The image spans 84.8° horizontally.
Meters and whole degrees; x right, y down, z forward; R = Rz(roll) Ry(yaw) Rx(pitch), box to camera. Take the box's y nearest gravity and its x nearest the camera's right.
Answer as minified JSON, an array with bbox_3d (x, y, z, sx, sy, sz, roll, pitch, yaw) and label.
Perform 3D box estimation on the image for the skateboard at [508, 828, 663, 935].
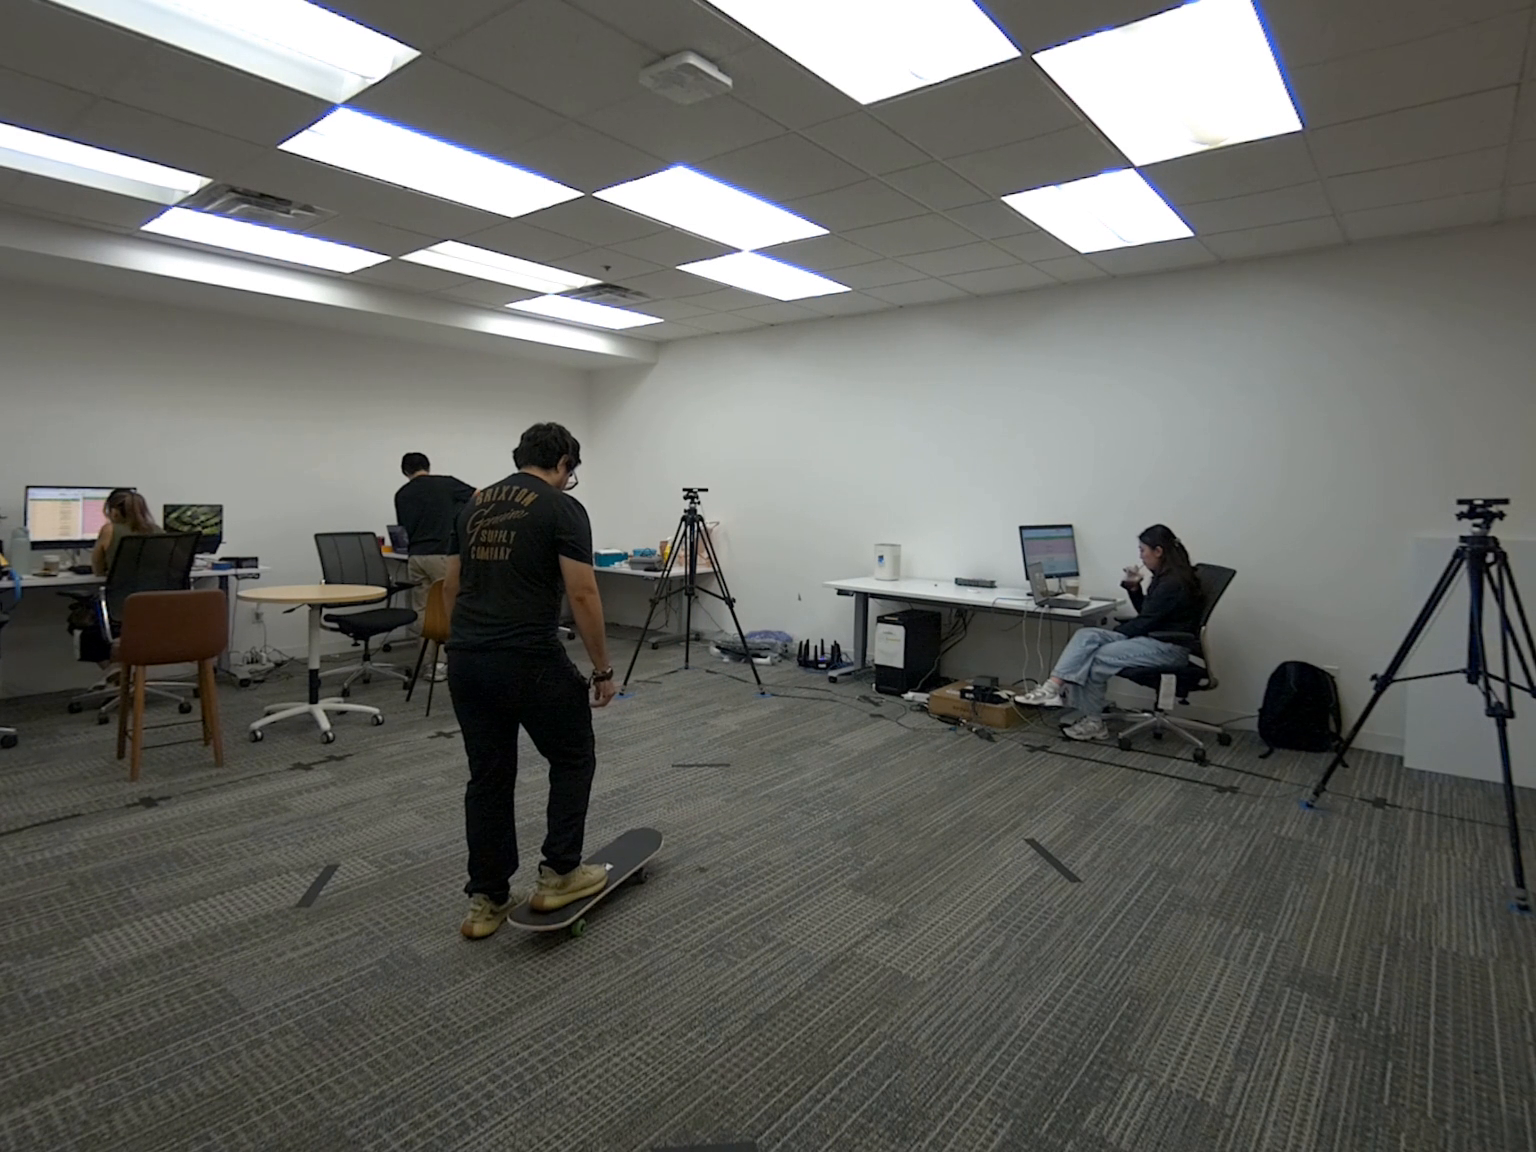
[{"bbox_3d":[-0.598,1.035,2.852,0.198,0.110,0.770,3,6,22],"label":"skateboard"}]
